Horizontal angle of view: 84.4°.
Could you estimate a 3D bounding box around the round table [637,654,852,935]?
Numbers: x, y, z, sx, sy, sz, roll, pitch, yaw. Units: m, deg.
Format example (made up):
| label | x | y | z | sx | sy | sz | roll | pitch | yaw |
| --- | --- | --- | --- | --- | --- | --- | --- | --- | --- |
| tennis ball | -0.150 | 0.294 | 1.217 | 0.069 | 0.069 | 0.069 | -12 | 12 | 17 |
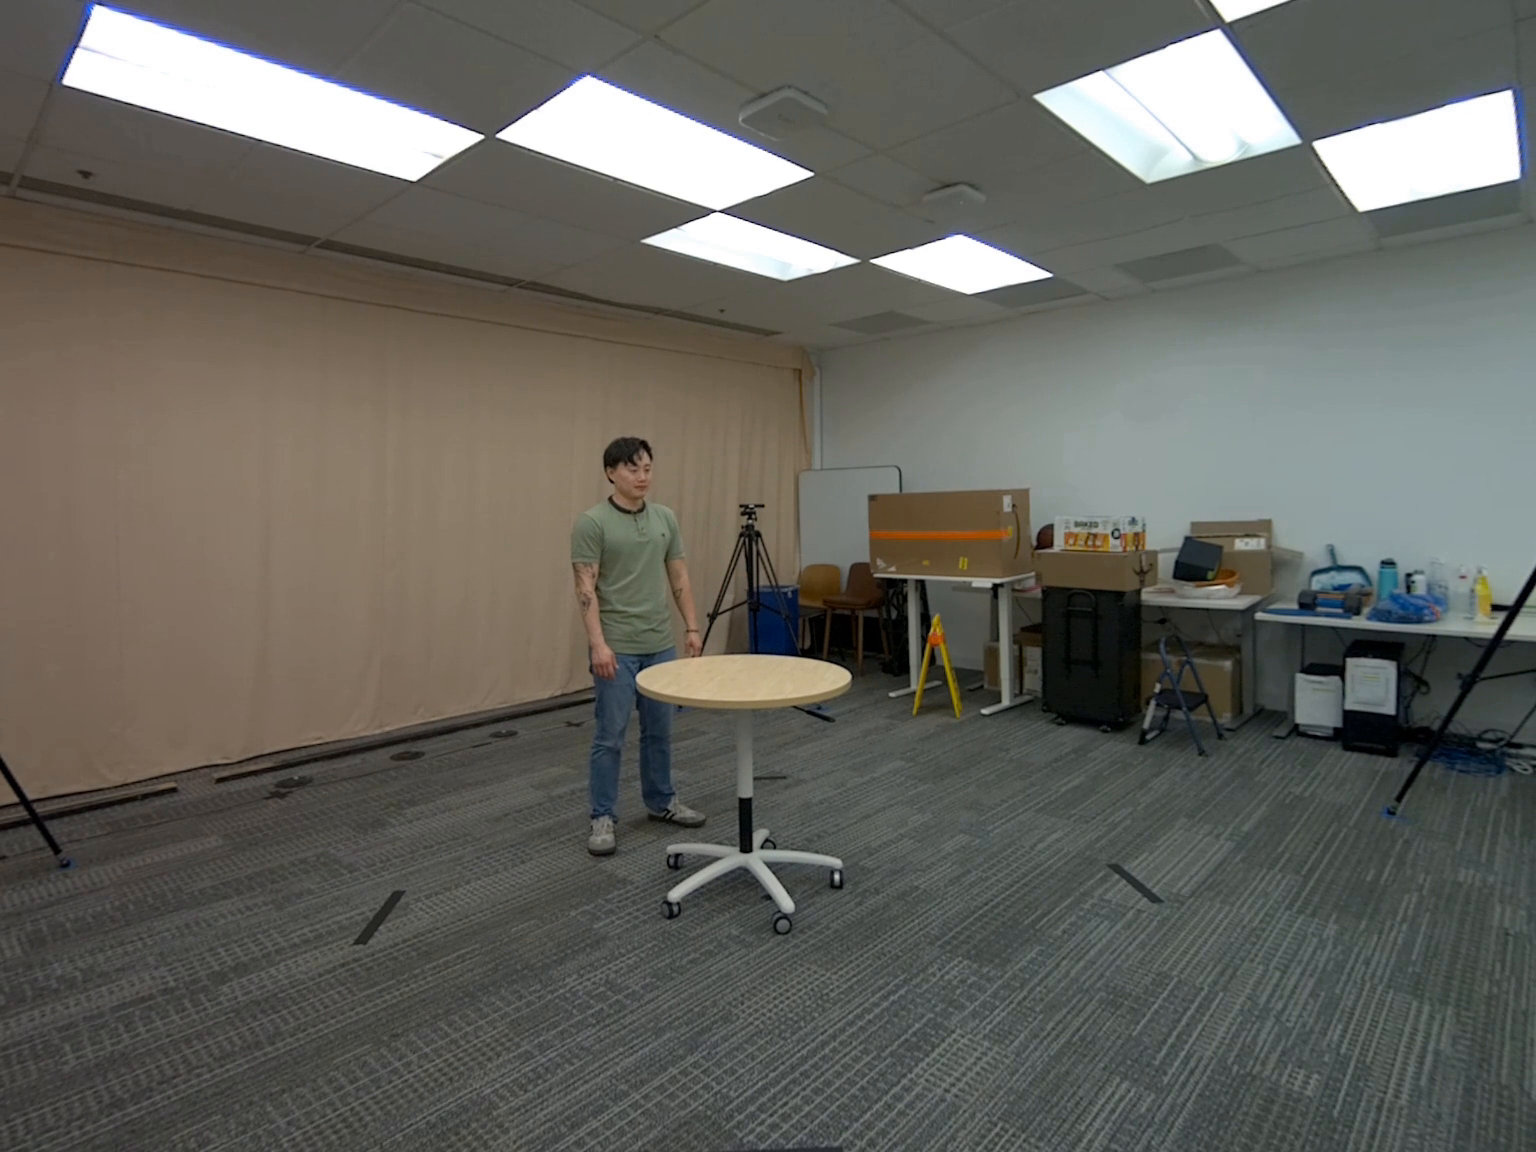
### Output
| label | x | y | z | sx | sy | sz | roll | pitch | yaw |
| --- | --- | --- | --- | --- | --- | --- | --- | --- | --- |
| round table | -0.074 | 0.747 | 3.027 | 0.763 | 0.792 | 0.767 | -1 | 4 | -2 |
